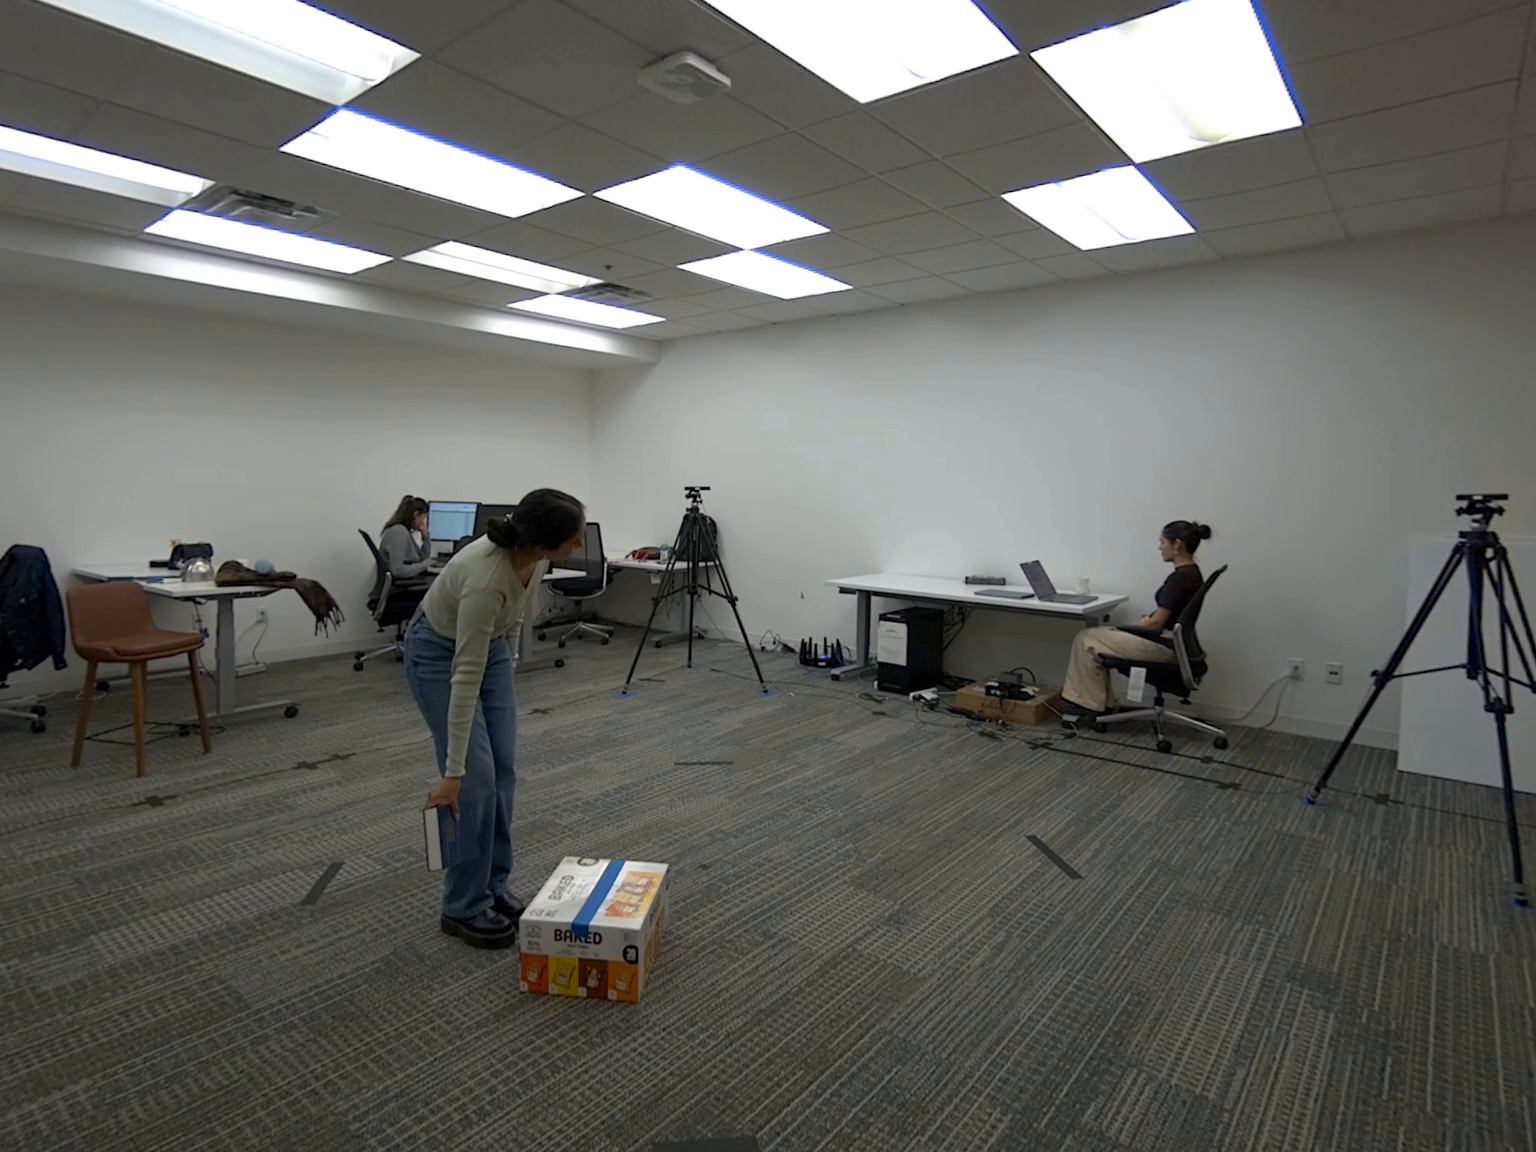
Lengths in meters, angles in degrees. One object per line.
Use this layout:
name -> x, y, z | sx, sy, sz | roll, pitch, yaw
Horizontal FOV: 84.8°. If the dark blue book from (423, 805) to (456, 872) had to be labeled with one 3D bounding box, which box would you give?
dark blue book -> -0.894, 0.717, 2.378 | 0.045, 0.166, 0.241 | -11, -11, 1
